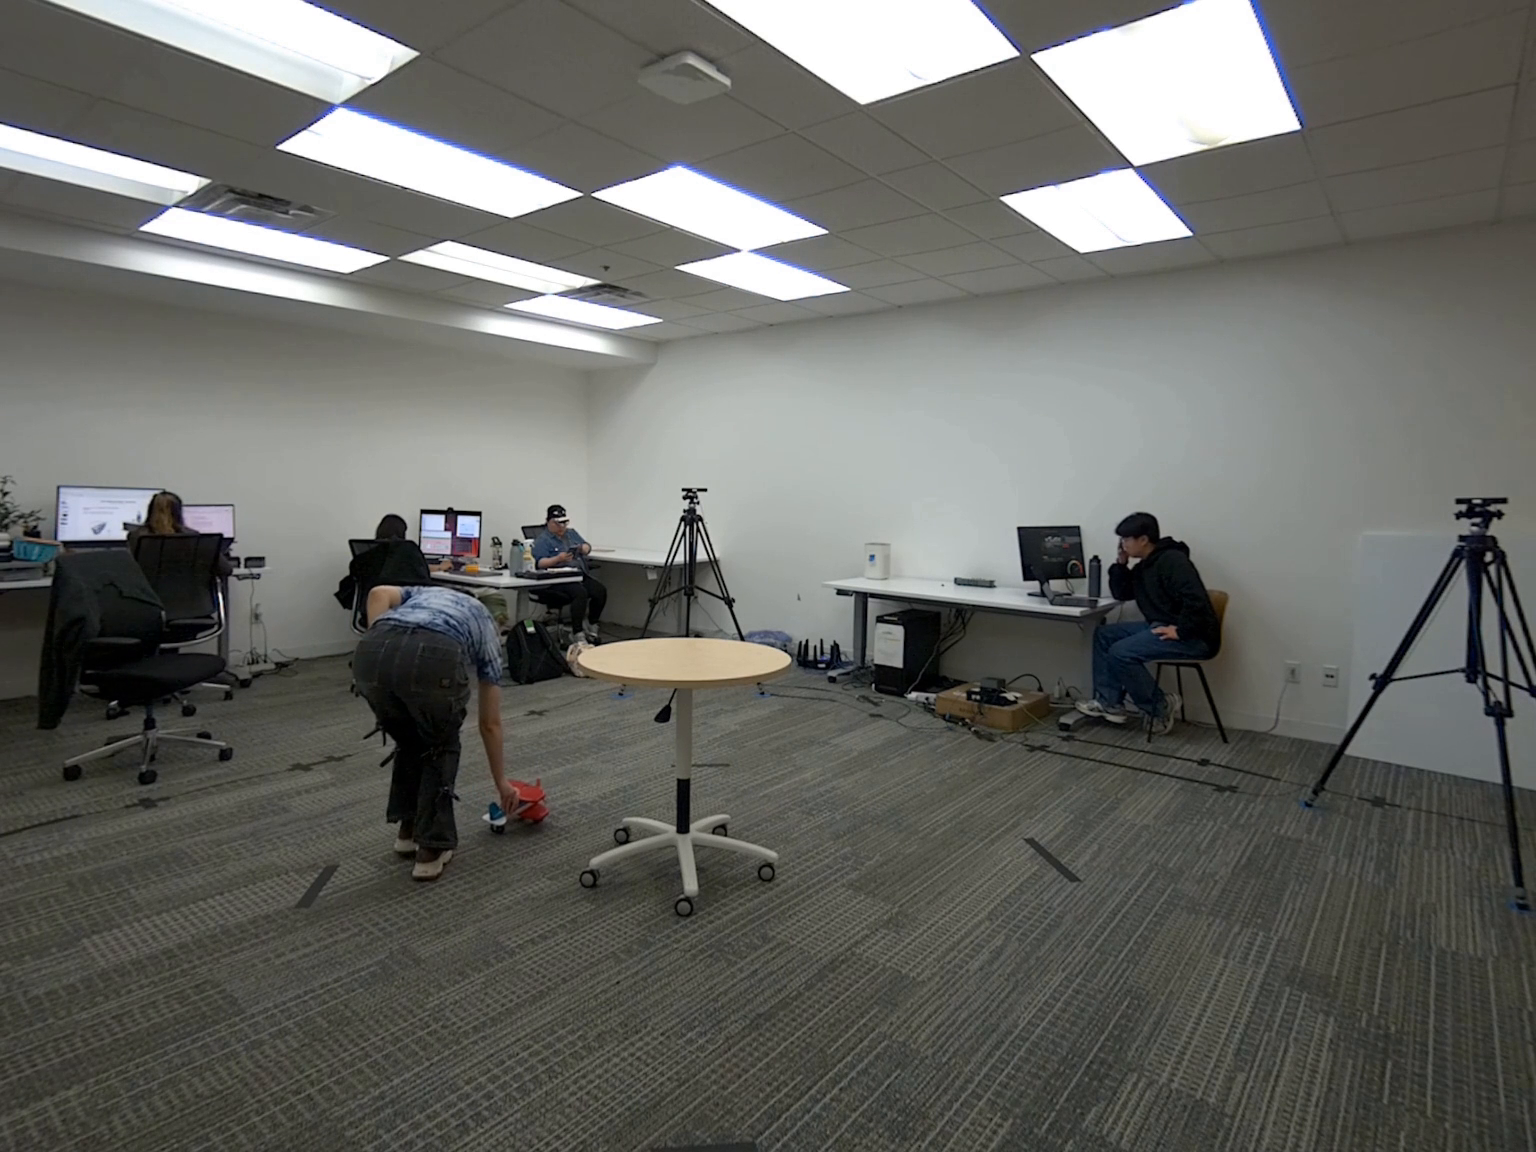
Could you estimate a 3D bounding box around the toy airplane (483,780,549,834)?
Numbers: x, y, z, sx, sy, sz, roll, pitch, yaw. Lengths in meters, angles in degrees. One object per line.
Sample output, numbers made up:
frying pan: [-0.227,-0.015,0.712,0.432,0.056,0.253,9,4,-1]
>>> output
toy airplane: [-1.034,0.951,3.473,0.253,0.156,0.259,0,5,5]
